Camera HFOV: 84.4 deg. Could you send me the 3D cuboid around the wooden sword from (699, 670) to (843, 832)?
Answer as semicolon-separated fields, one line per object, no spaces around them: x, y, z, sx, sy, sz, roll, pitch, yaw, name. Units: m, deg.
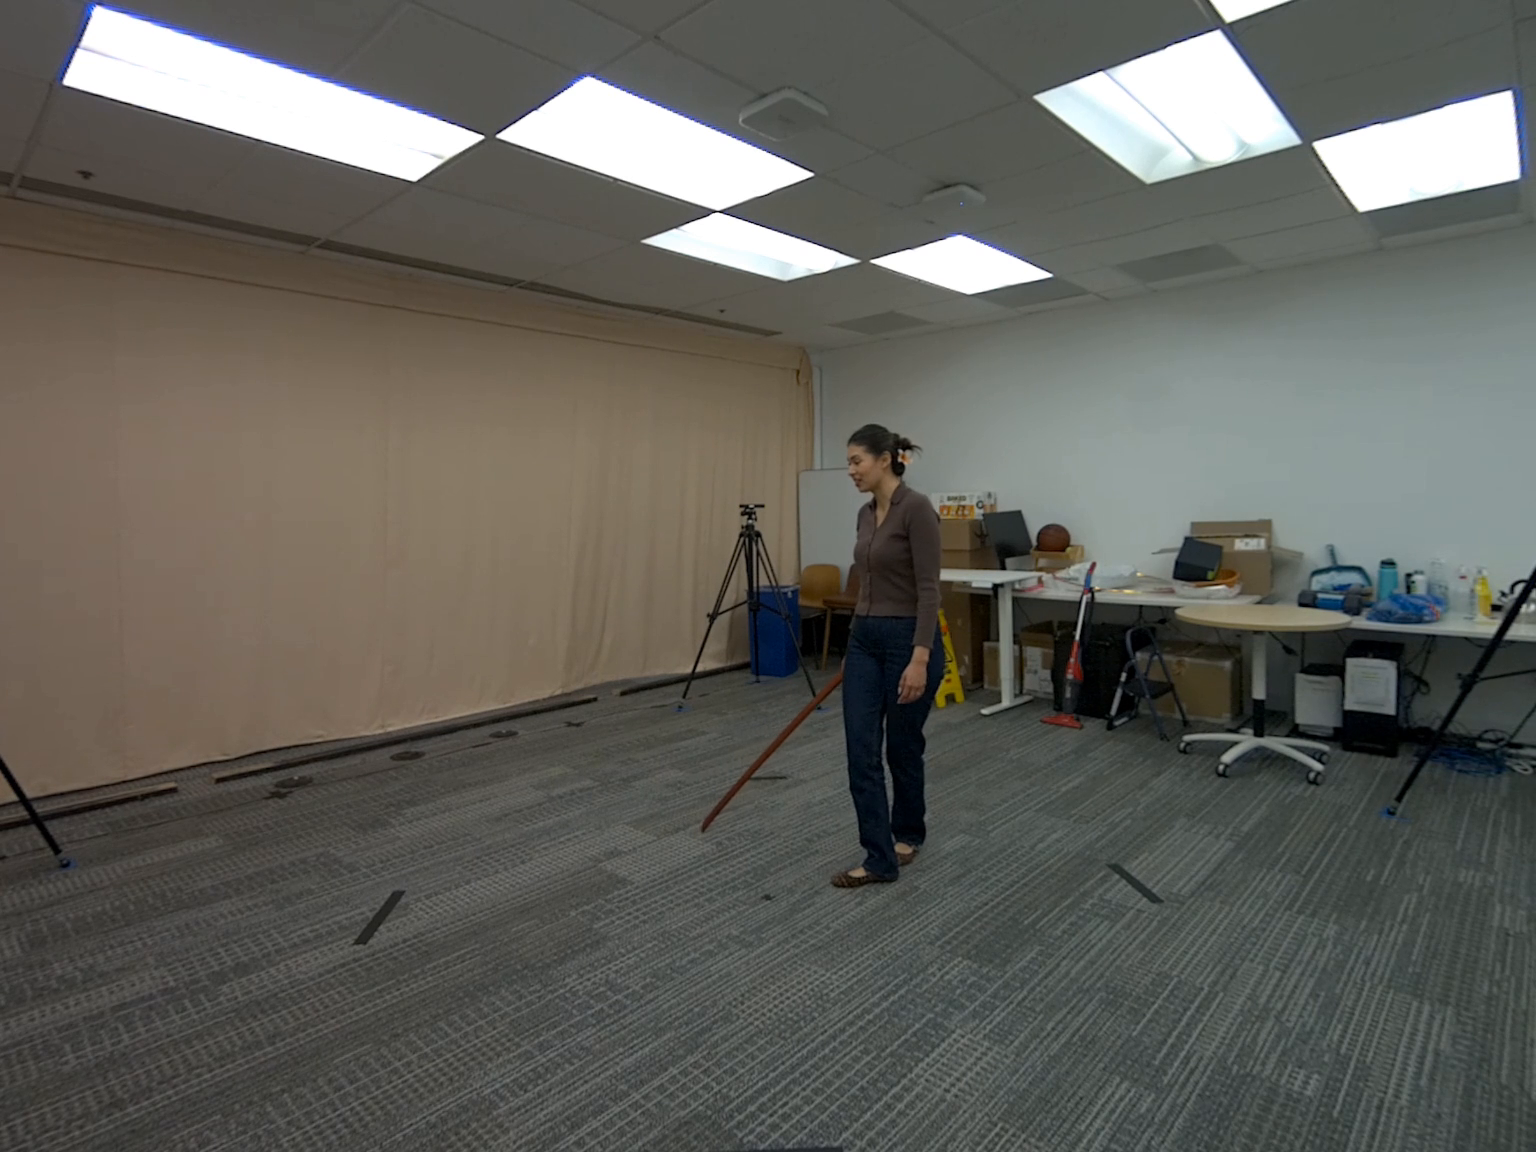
0.038;0.702;3.519;0.024;1.026;0.051;40;8;-6;wooden sword
